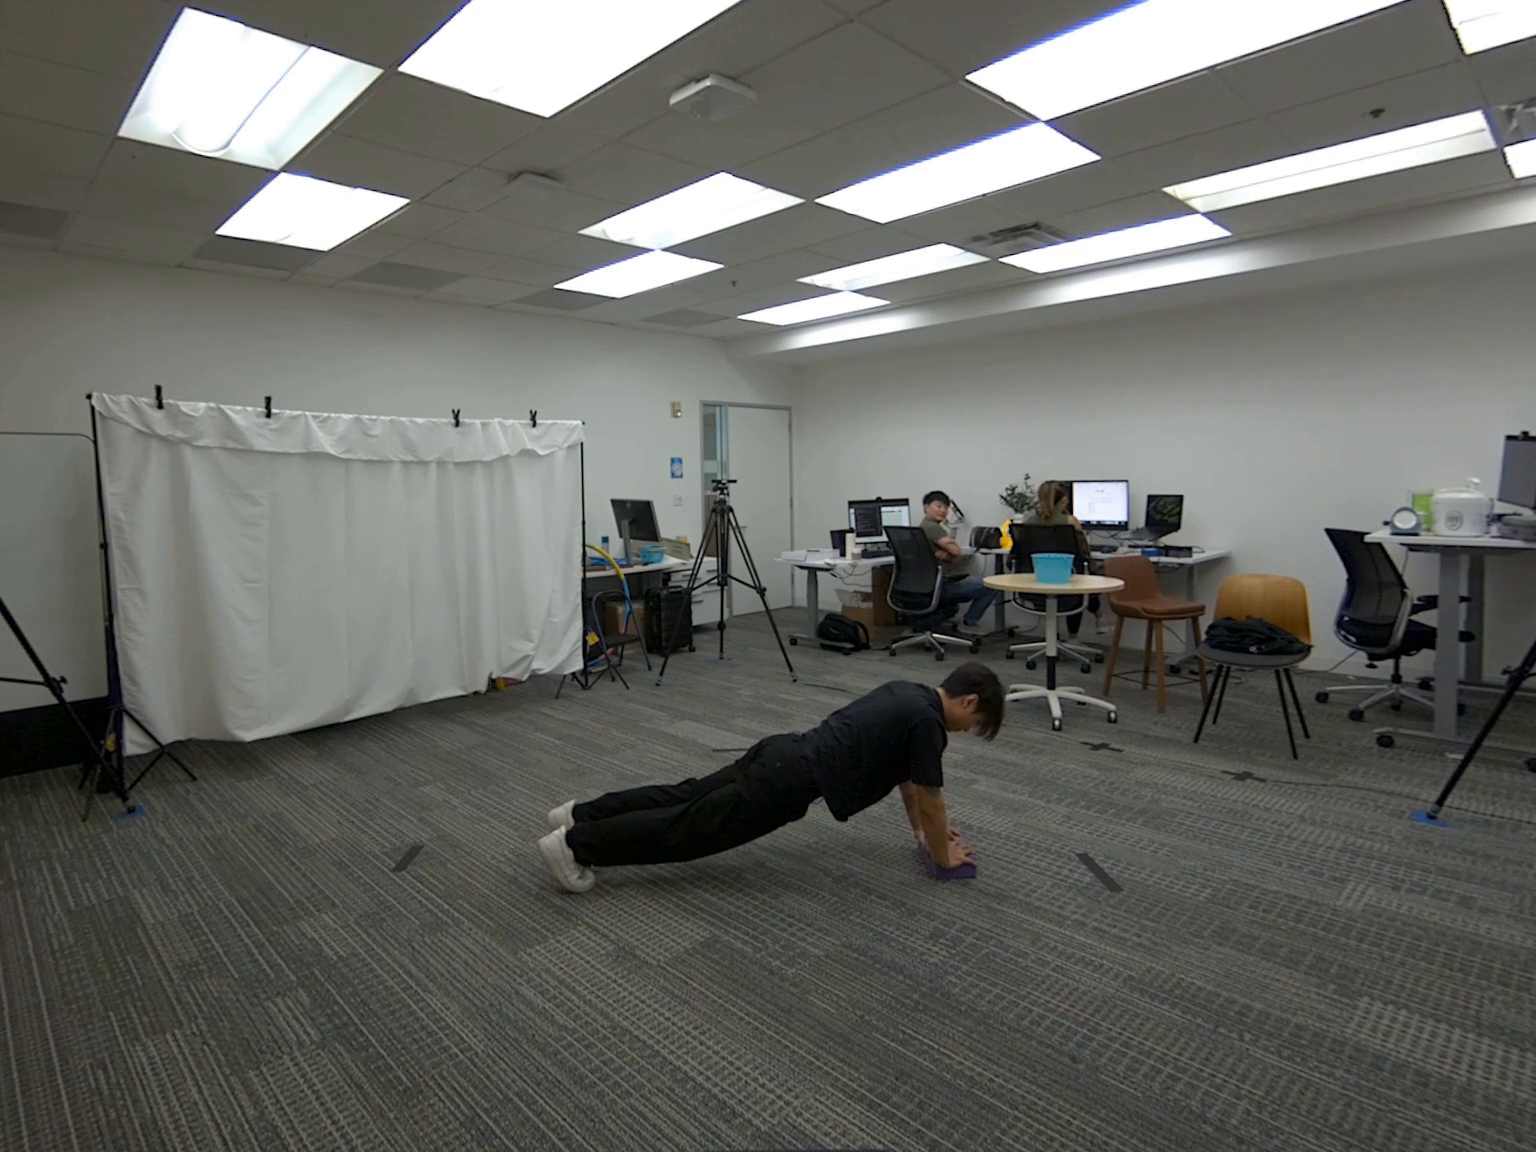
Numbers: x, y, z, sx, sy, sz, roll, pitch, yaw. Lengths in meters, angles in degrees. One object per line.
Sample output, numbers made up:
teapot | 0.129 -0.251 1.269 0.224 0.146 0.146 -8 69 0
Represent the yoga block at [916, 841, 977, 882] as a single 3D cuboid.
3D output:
yoga block | 0.640 0.999 3.068 0.148 0.076 0.231 -1 5 -7
